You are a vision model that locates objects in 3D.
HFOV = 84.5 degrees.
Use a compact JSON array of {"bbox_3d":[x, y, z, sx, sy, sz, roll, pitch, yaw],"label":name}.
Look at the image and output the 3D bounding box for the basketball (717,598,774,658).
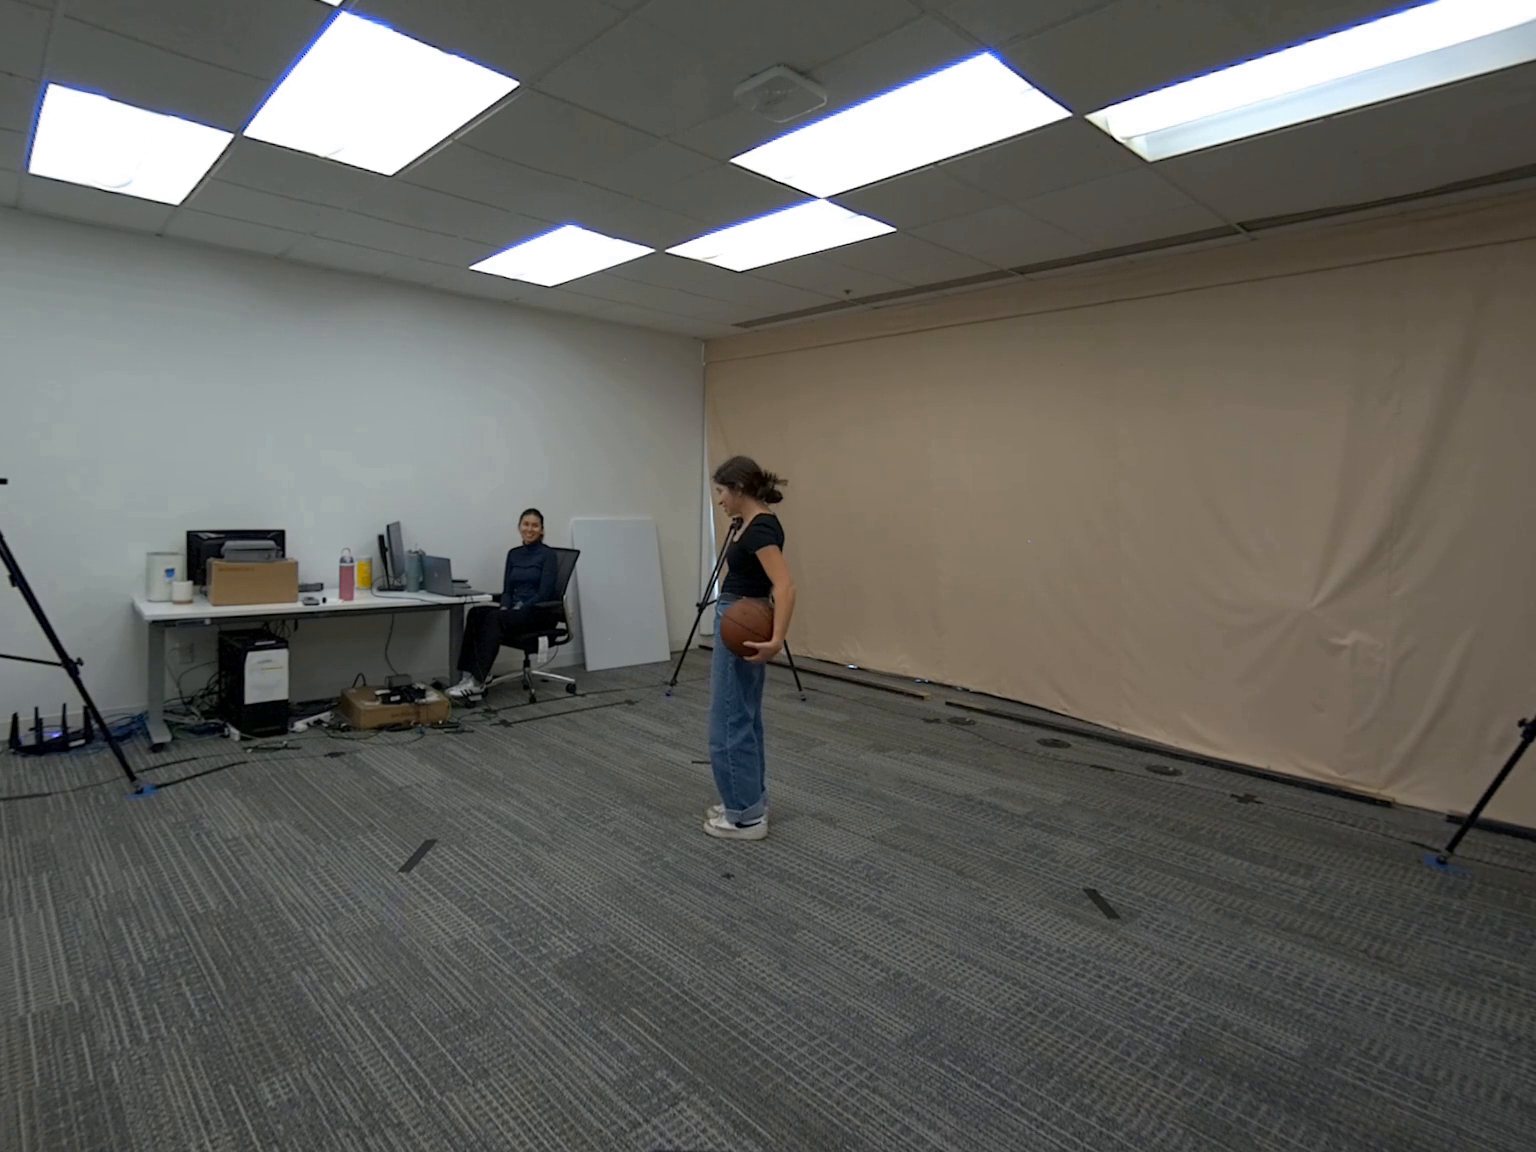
[{"bbox_3d":[-0.090,0.202,3.292,0.236,0.235,0.237,1,4,-1],"label":"basketball"}]
